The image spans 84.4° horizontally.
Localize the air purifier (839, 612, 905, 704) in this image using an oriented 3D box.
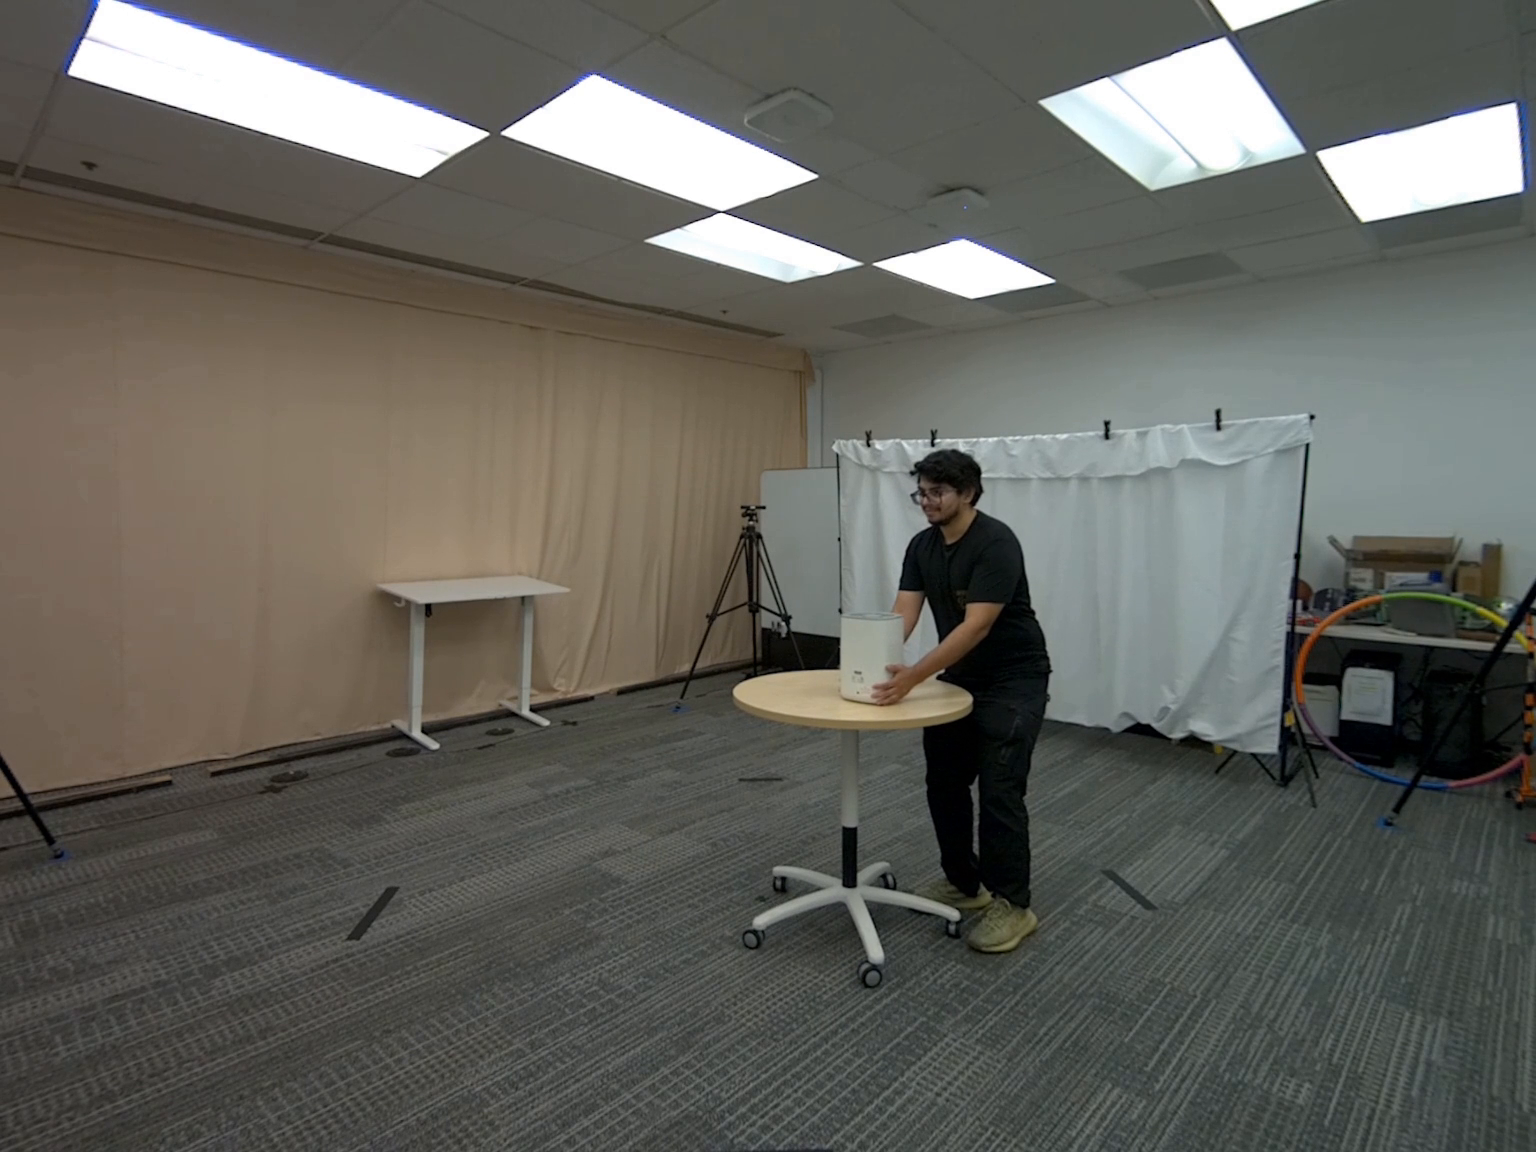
[{"bbox_3d":[0.332,0.256,2.638,0.176,0.264,0.167,3,5,35],"label":"air purifier"}]
